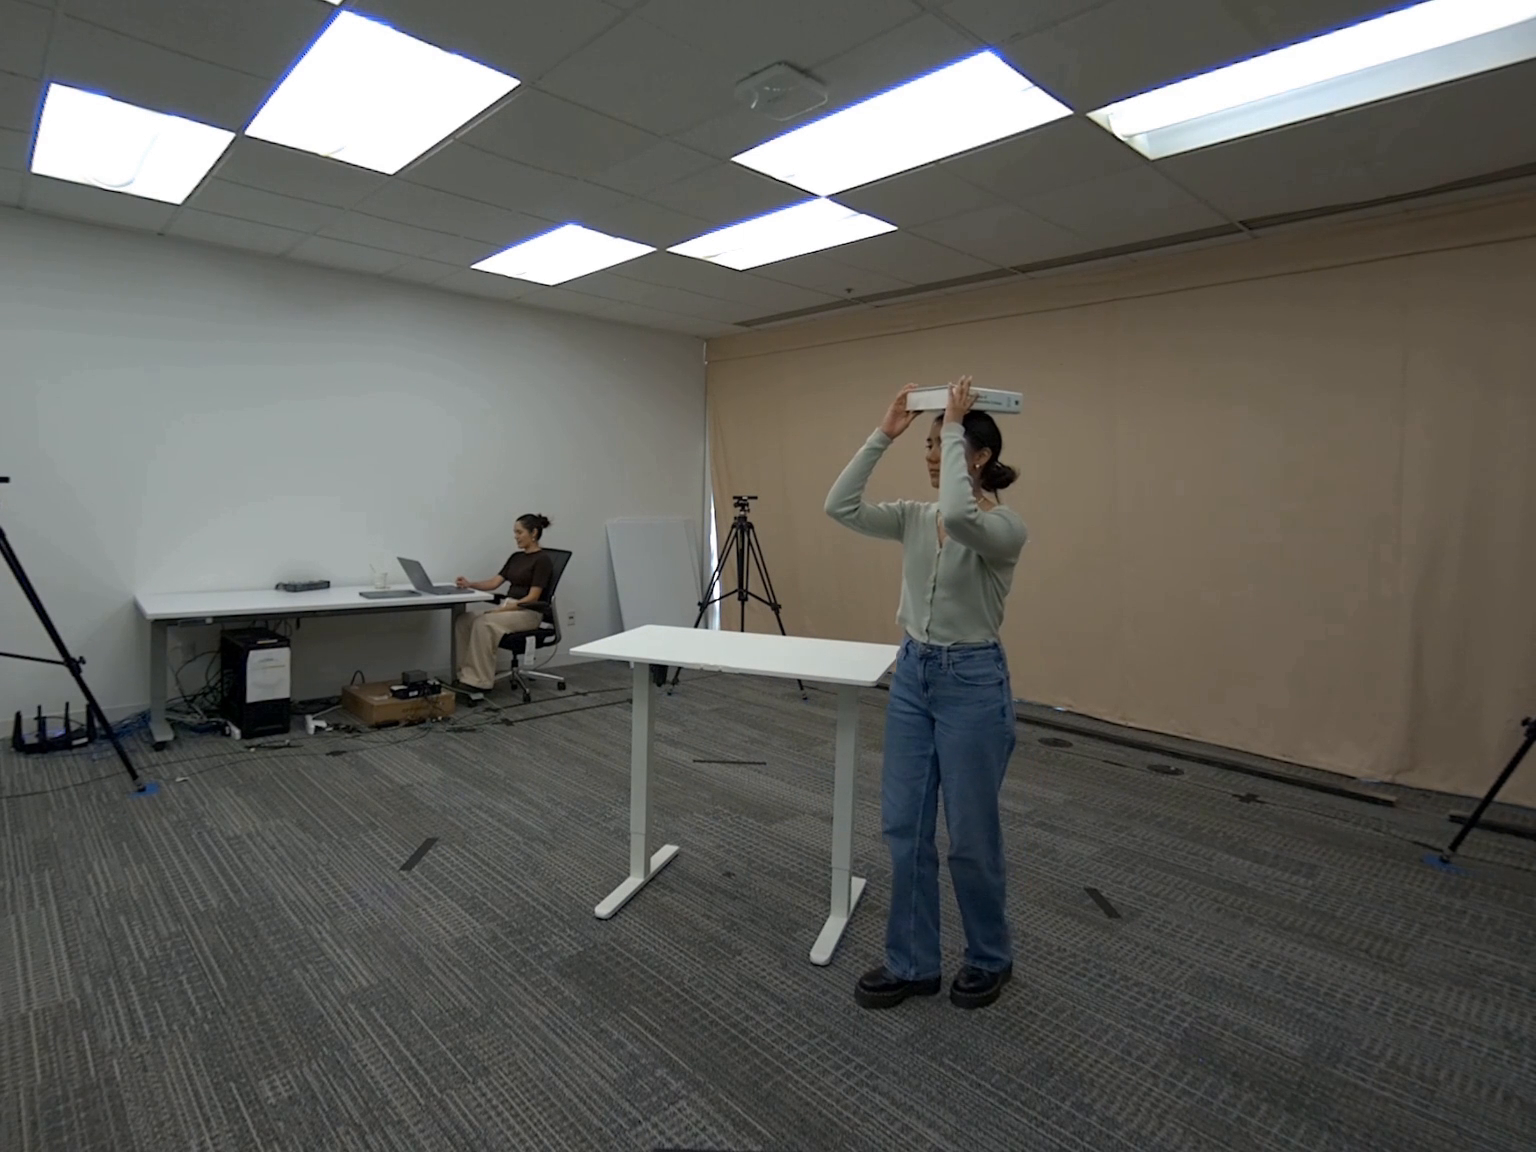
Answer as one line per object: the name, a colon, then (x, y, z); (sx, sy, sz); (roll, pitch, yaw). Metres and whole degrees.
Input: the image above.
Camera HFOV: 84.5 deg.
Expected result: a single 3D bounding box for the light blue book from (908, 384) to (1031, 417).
light blue book: (0.546, -0.476, 2.299); (0.255, 0.059, 0.196); (-2, 8, -35)
